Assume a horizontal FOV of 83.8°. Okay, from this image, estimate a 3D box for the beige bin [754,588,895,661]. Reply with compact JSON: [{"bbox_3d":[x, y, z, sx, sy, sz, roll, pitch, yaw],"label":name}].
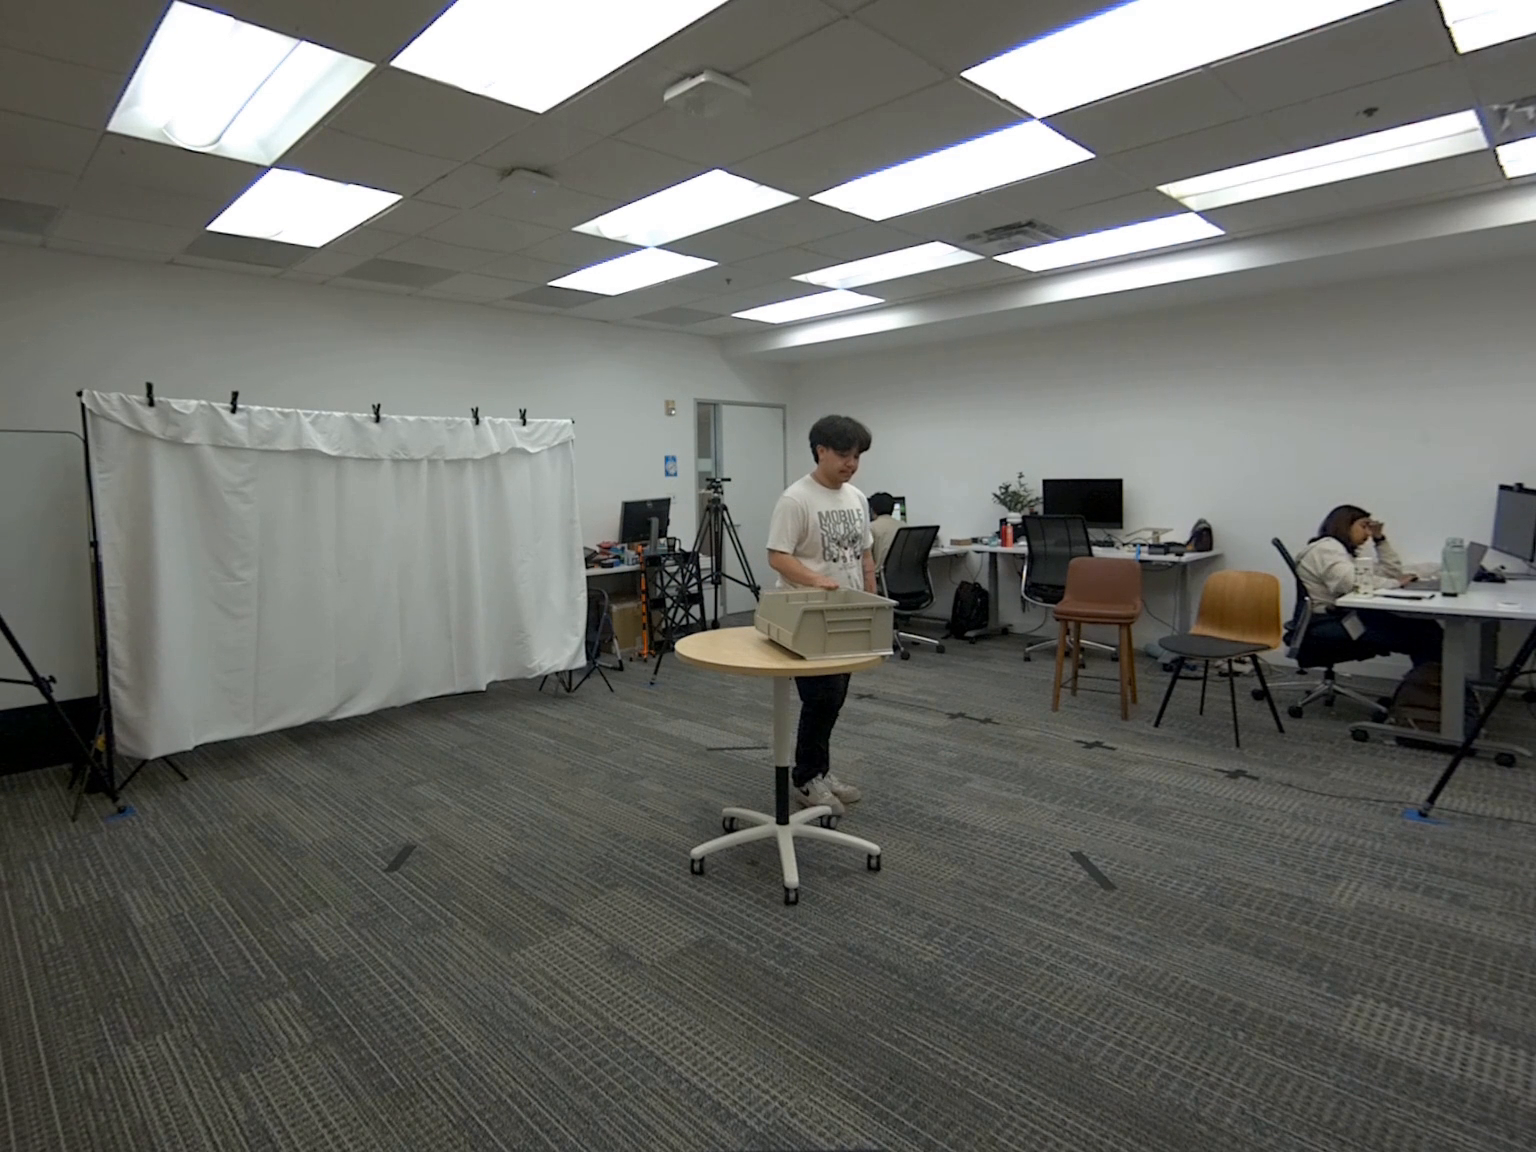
[{"bbox_3d":[0.195,0.167,3.019,0.371,0.188,0.431,-2,6,-17],"label":"beige bin"}]
